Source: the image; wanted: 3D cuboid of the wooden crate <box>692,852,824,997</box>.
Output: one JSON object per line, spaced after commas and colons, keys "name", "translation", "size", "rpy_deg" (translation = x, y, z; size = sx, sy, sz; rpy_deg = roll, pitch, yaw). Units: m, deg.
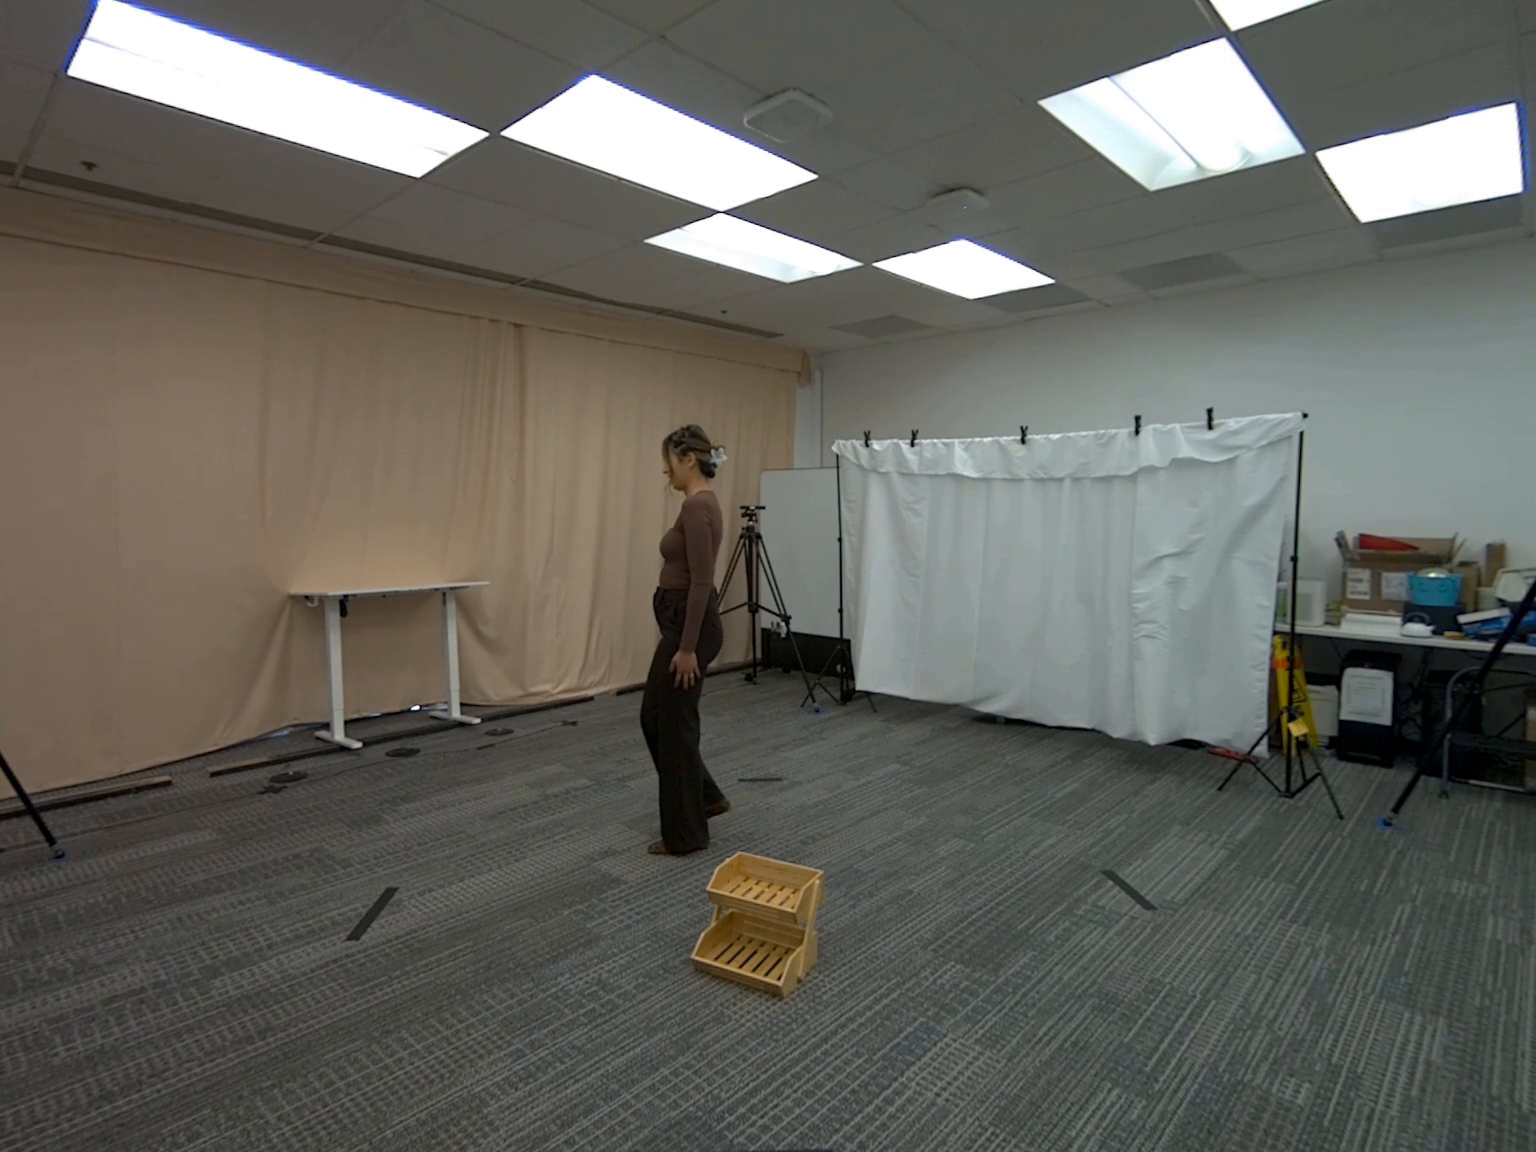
{"name": "wooden crate", "translation": [-0.024, 1.048, 2.553], "size": [0.334, 0.273, 0.294], "rpy_deg": [2, 4, 29]}
